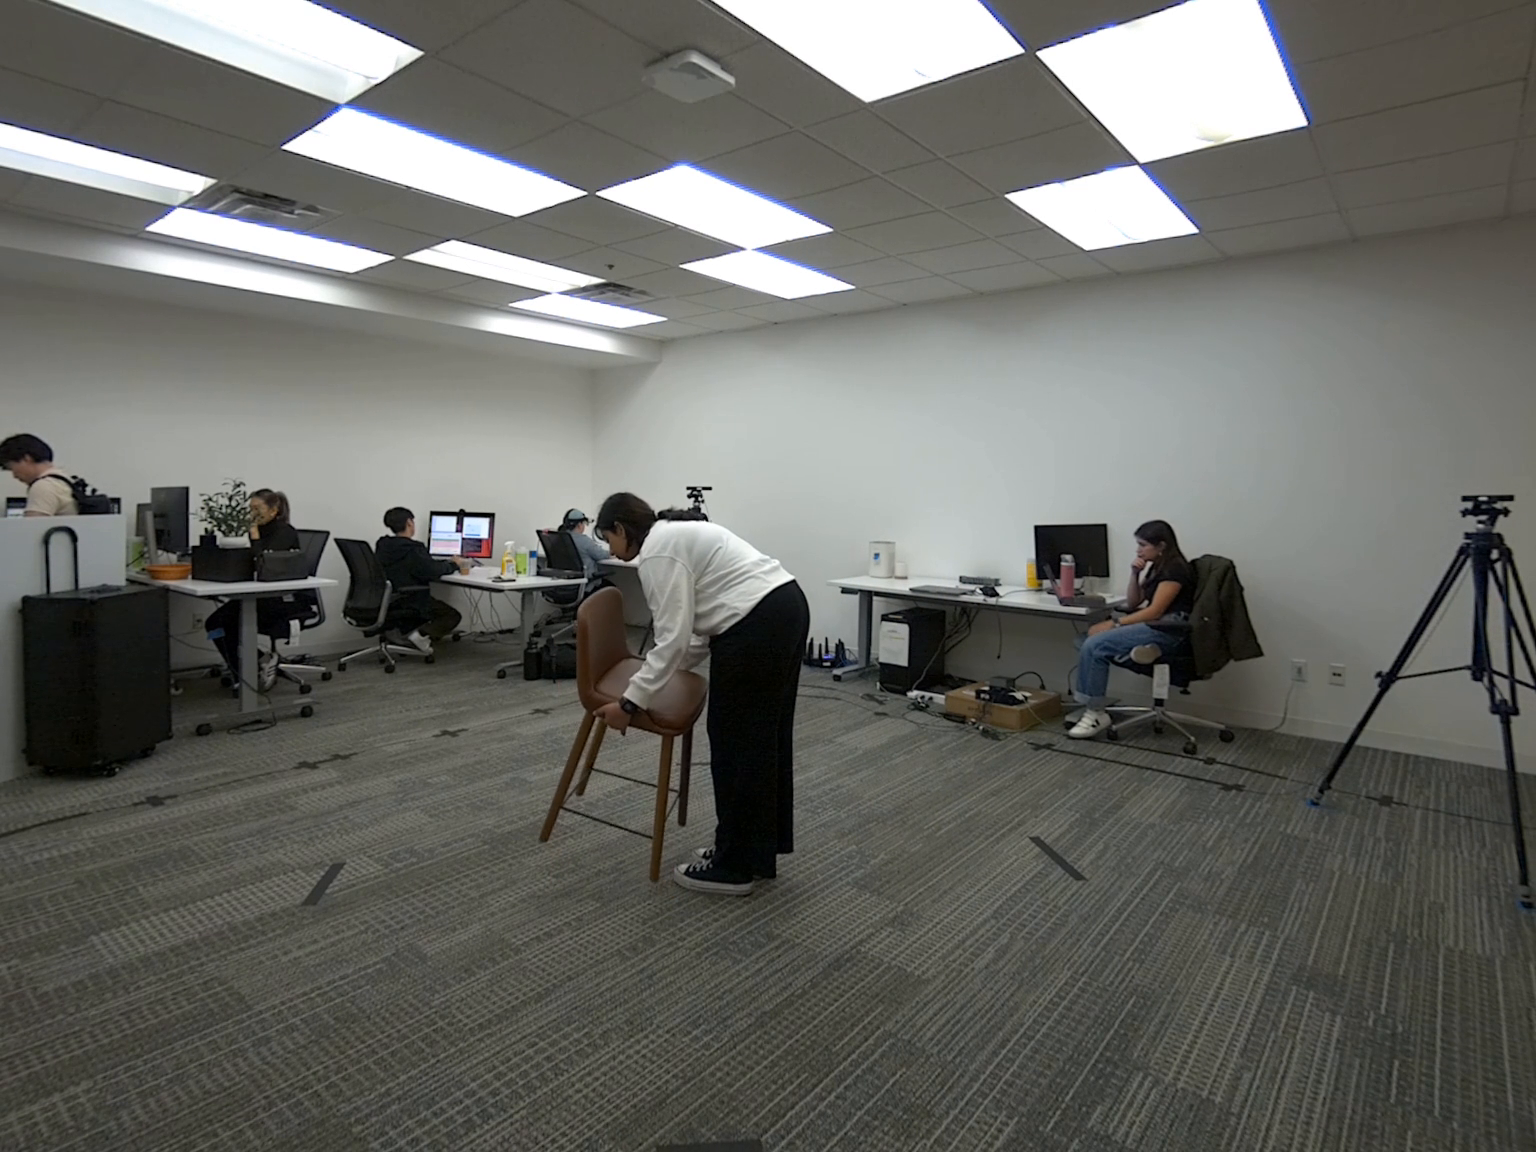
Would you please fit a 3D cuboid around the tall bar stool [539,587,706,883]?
[{"bbox_3d":[-0.490,0.536,3.060,0.474,0.881,0.455,12,13,10],"label":"tall bar stool"}]
